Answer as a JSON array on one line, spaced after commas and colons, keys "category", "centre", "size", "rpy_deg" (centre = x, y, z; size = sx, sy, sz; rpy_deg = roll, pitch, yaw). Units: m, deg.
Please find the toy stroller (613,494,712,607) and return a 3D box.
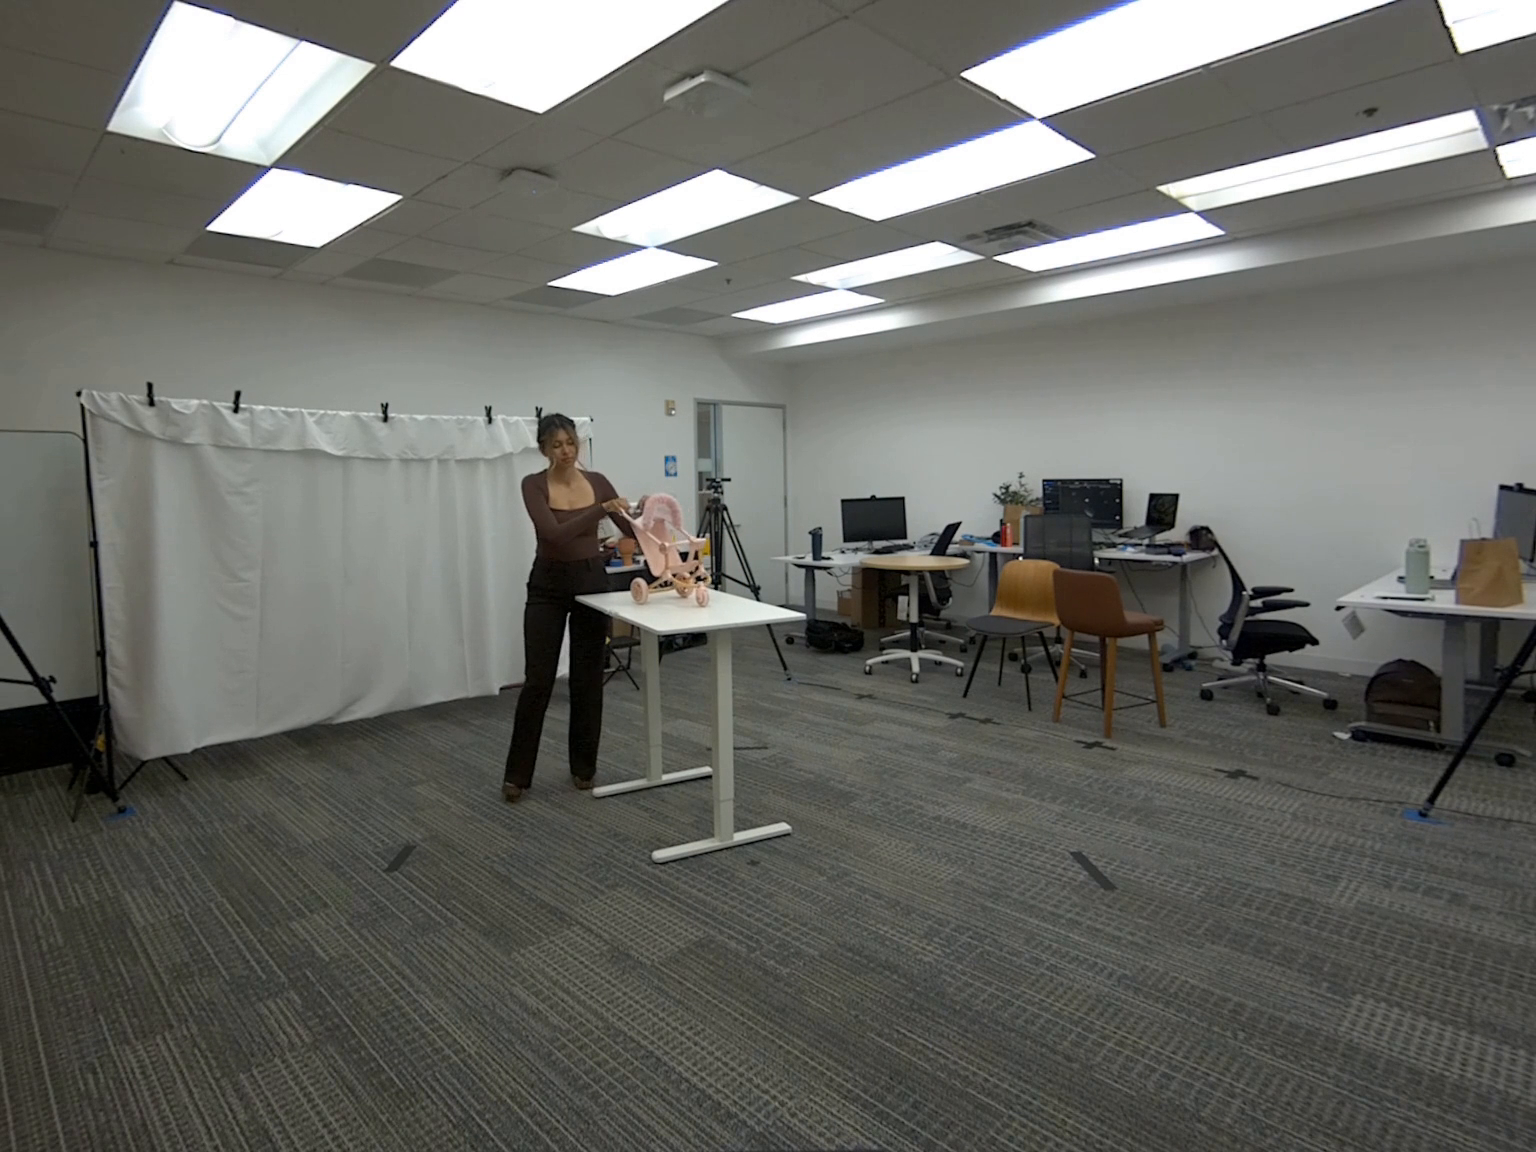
[{"category": "toy stroller", "centre": [-0.416, -0.110, 3.577], "size": [0.274, 0.539, 0.347], "rpy_deg": [-8, -9, -42]}]
